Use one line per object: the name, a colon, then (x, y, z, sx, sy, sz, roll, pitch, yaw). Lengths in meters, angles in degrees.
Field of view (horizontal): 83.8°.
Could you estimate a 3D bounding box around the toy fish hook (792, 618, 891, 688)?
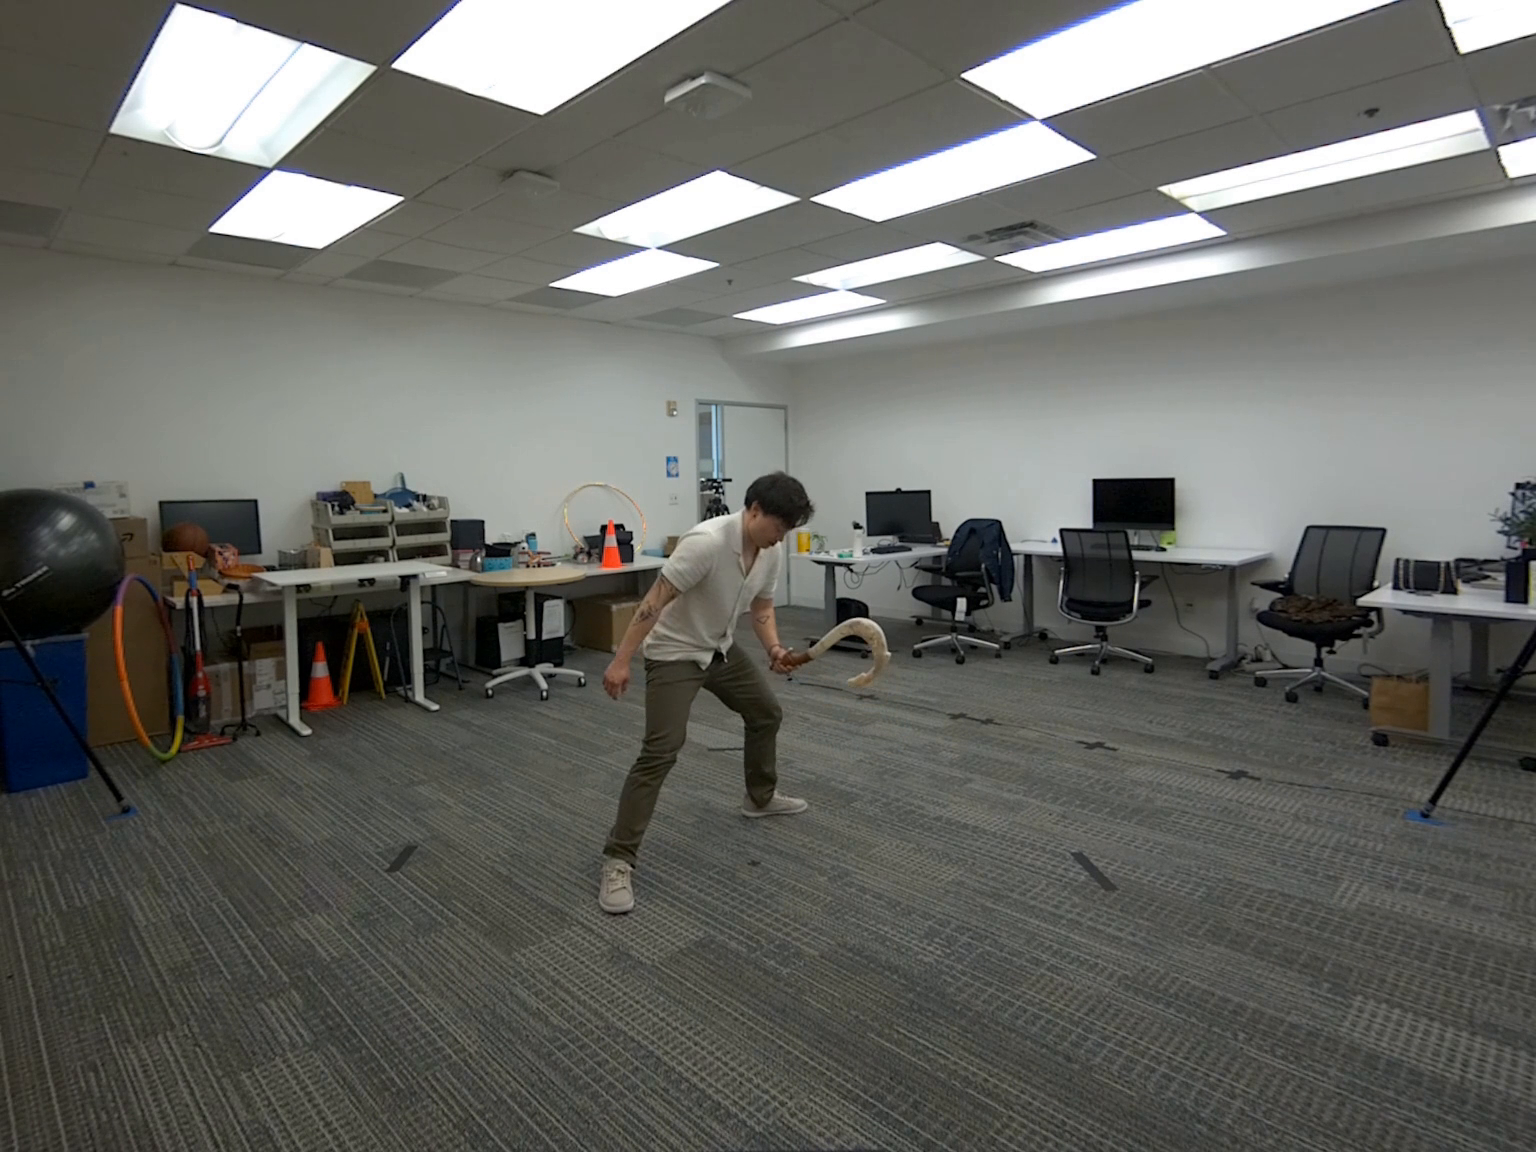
toy fish hook: (0.213, 0.313, 3.004, 0.513, 0.229, 0.047, -26, -20, 39)
